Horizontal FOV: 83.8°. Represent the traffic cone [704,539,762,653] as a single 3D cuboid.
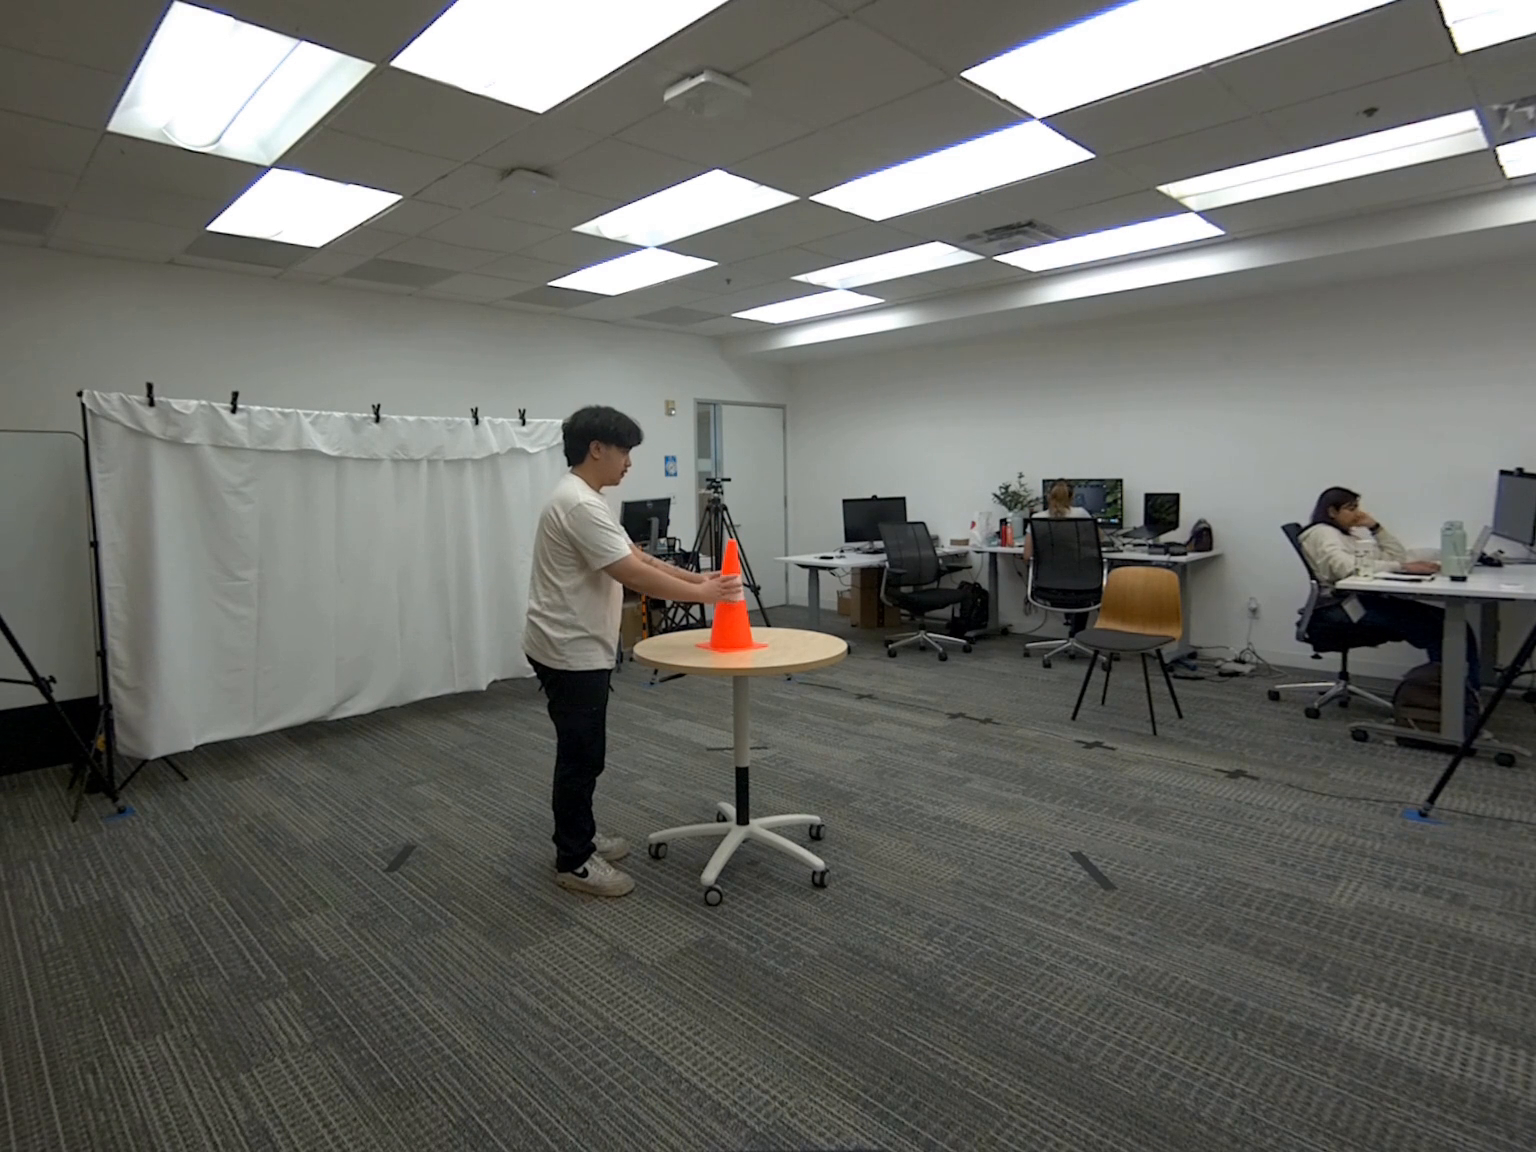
[{"bbox_3d":[-0.138,0.064,3.053,0.209,0.382,0.199,2,5,40],"label":"traffic cone"}]
